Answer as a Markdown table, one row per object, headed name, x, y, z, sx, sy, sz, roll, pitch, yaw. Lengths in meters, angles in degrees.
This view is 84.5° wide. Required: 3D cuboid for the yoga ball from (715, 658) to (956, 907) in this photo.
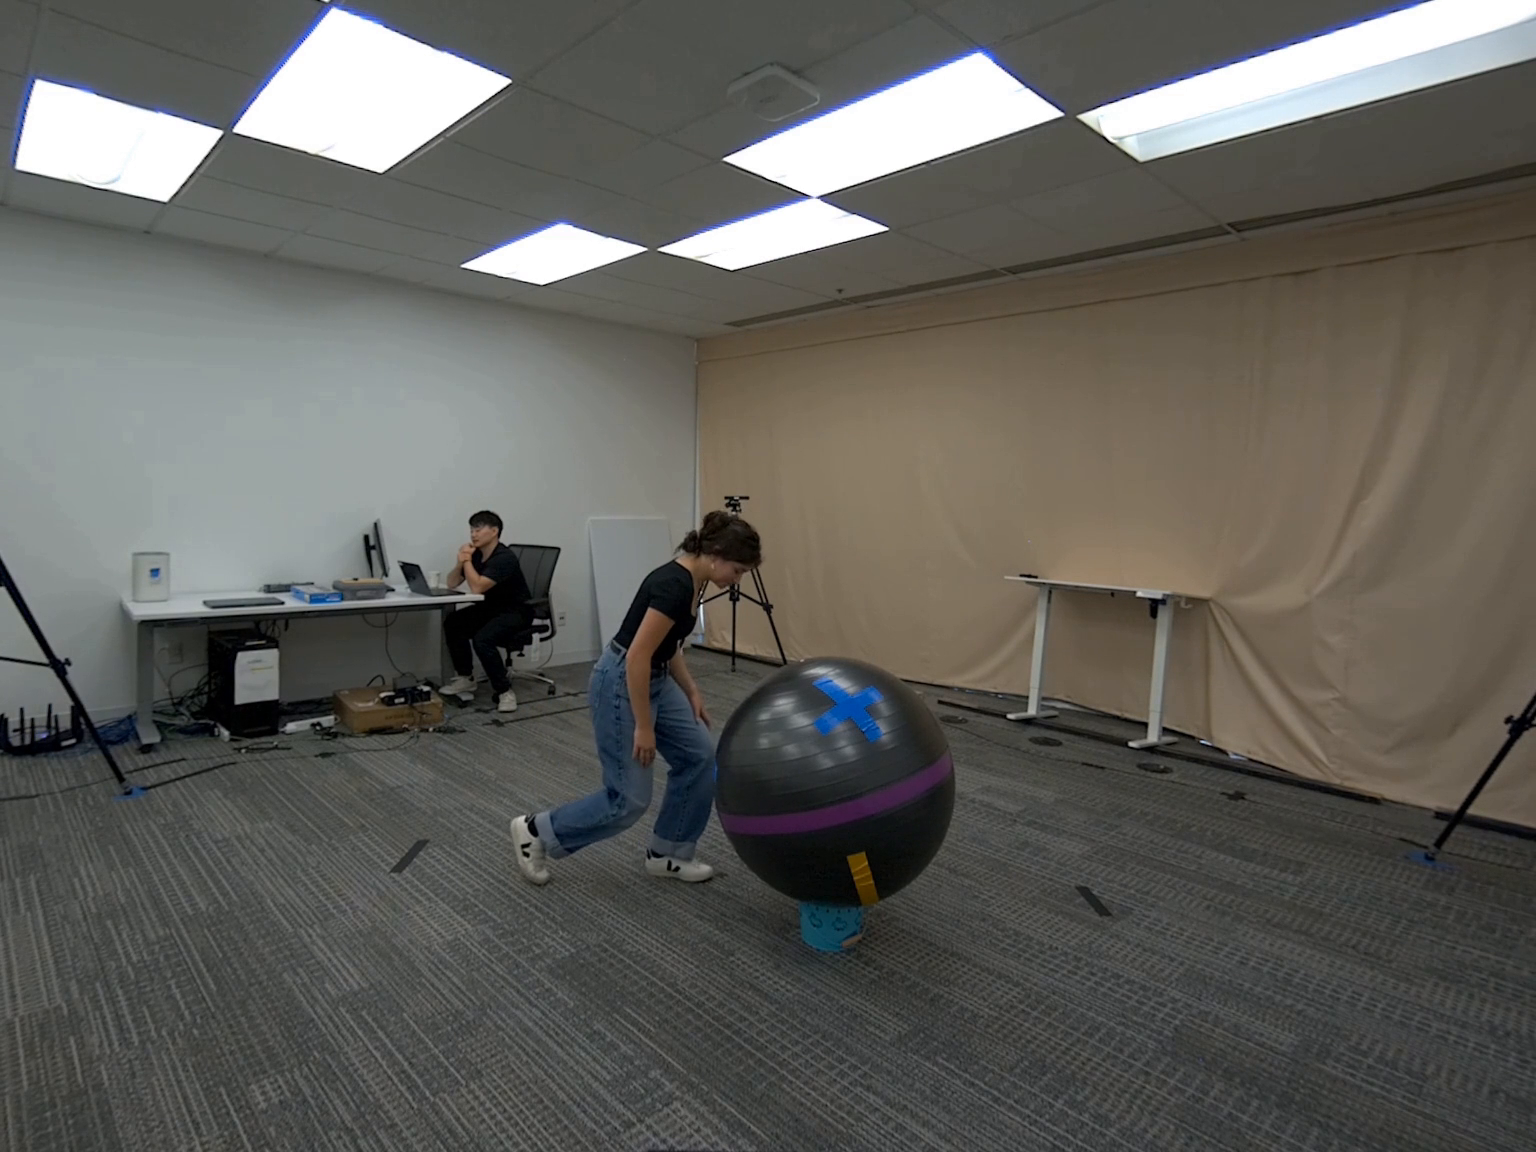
| name | x | y | z | sx | sy | sz | roll | pitch | yaw |
| --- | --- | --- | --- | --- | --- | --- | --- | --- | --- |
| yoga ball | 0.199 | 0.649 | 2.658 | 0.757 | 0.756 | 0.761 | 1 | 4 | -1 |
